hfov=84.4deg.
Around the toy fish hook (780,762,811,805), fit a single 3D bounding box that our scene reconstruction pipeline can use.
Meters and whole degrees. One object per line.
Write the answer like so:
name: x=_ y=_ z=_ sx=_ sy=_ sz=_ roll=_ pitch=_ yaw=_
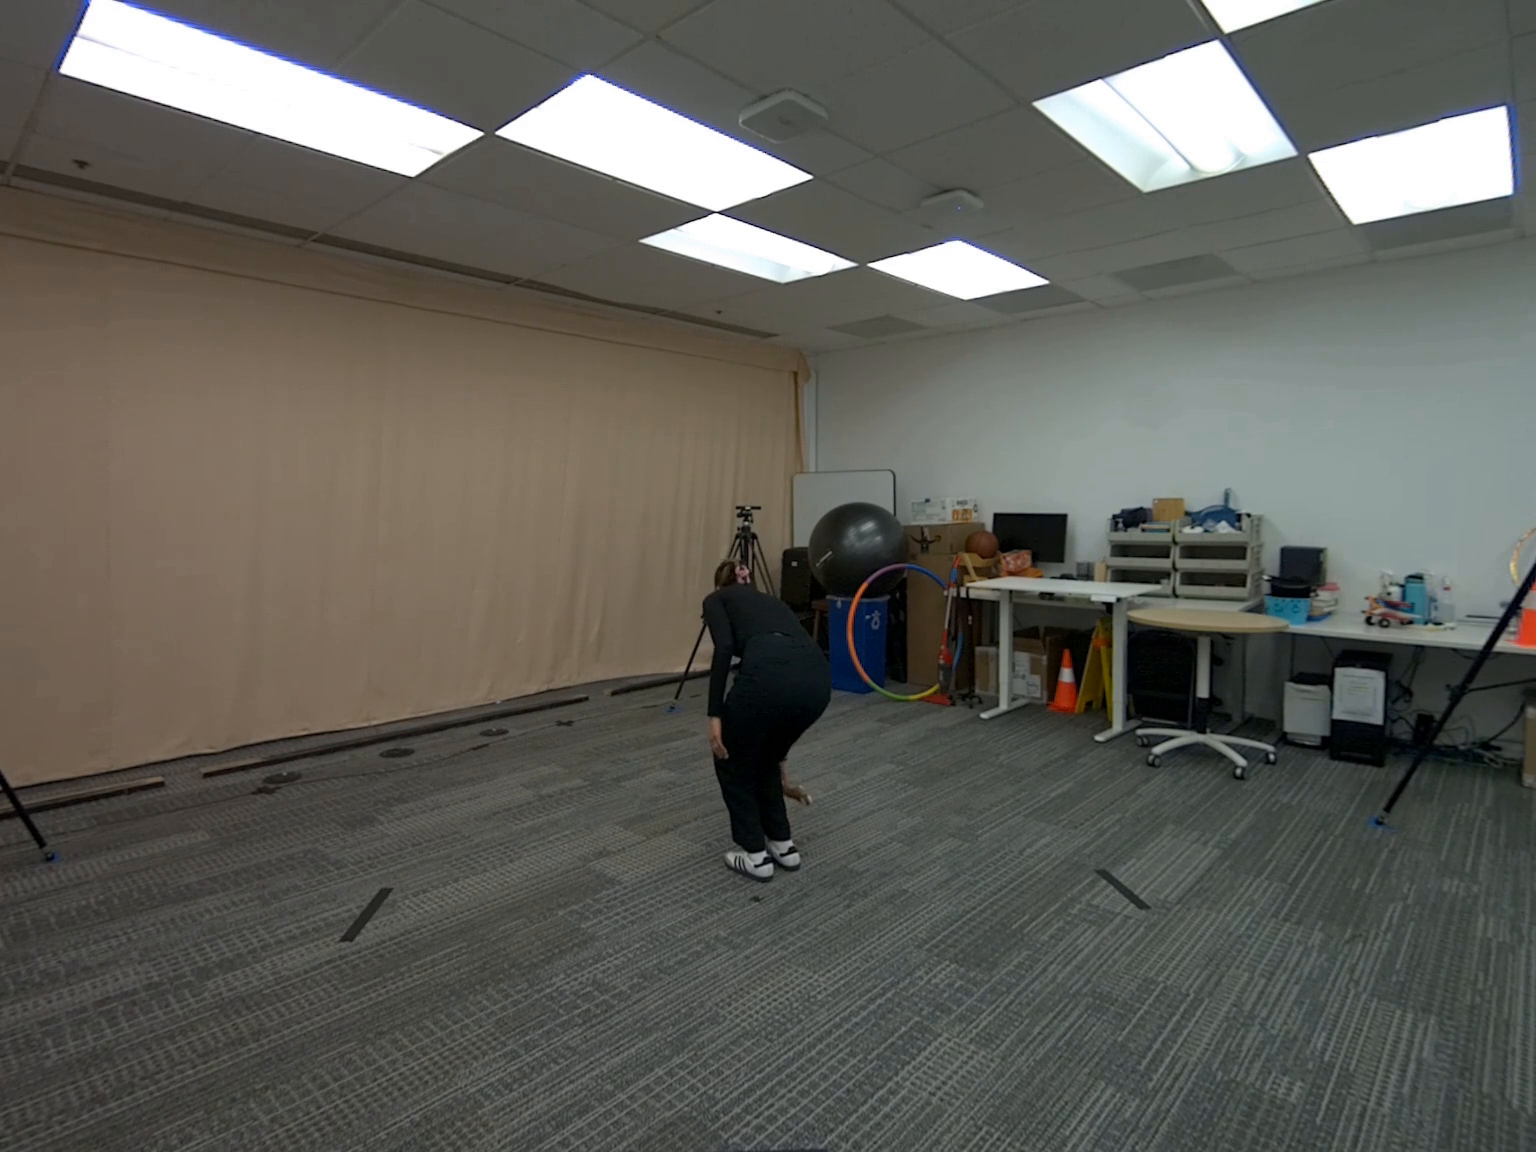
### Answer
toy fish hook: x=-0.003 y=0.907 z=3.576 sx=0.222 sy=0.047 sz=0.521 roll=-37 pitch=20 yaw=-21
